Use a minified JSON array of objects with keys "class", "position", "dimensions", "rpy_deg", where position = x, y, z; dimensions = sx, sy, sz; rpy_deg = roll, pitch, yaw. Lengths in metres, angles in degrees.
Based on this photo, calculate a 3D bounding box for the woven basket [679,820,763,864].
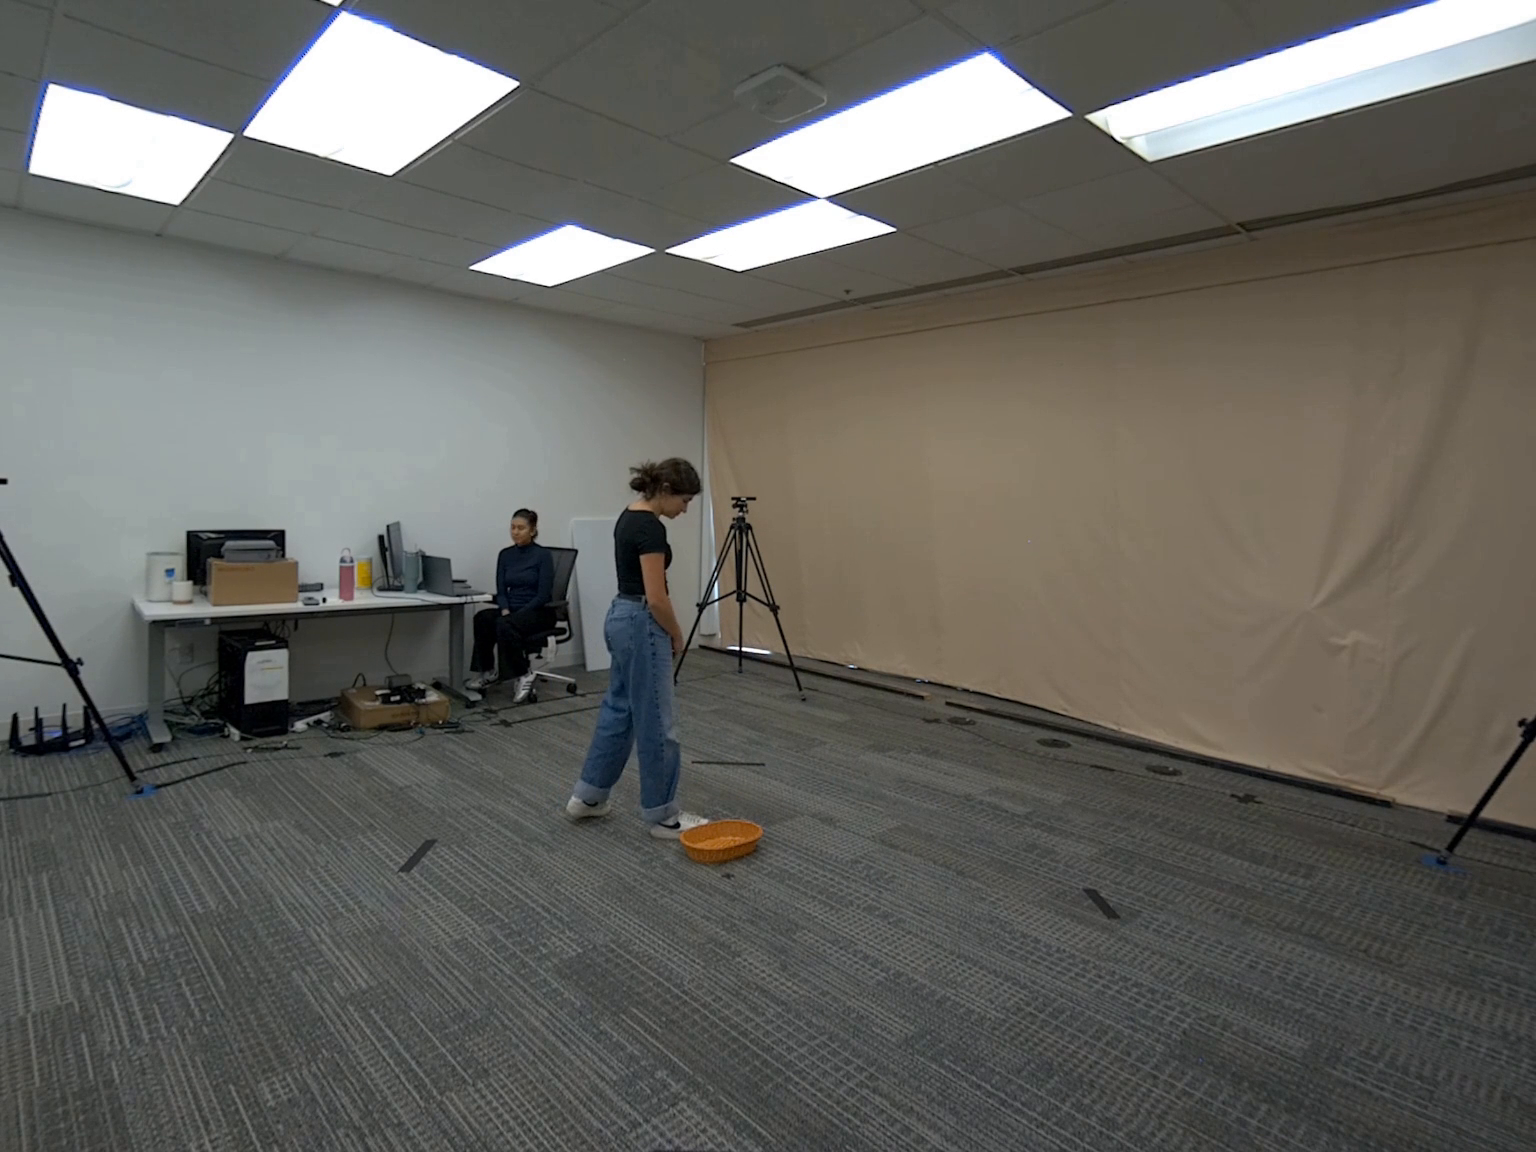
[{"class":"woven basket","position":[-0.193,1.045,3.320],"dimensions":[0.343,0.073,0.258],"rpy_deg":[-3,5,-34]}]
